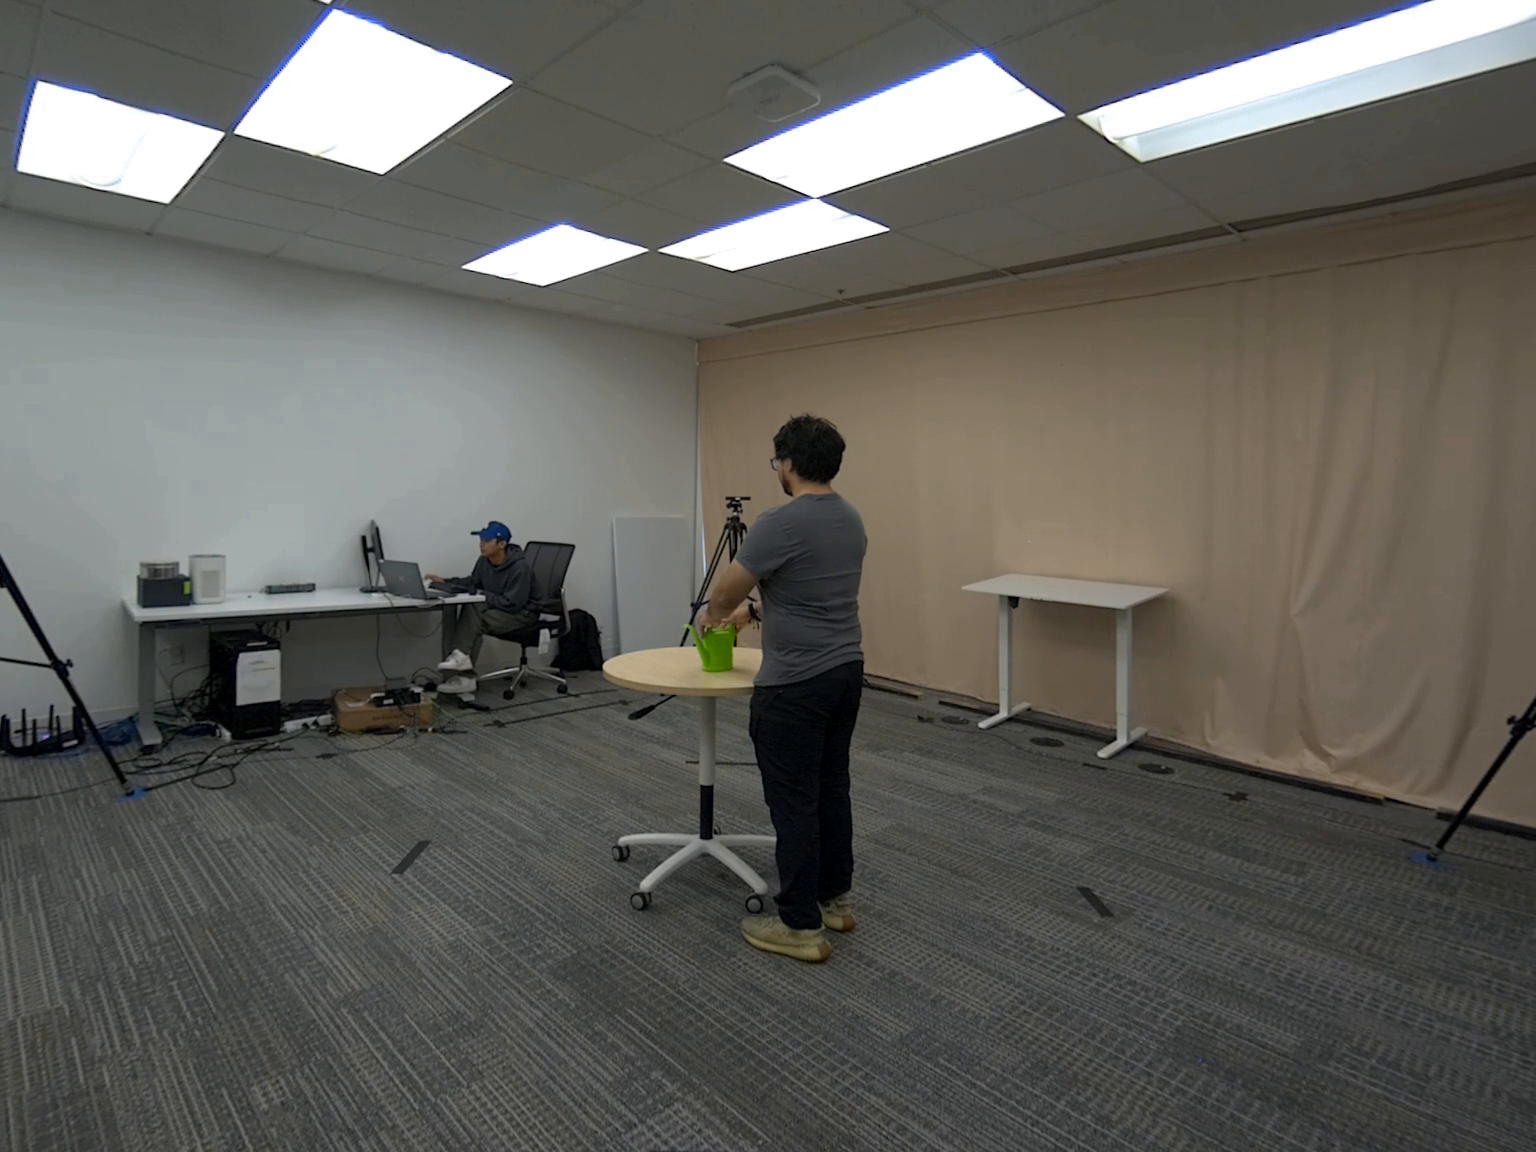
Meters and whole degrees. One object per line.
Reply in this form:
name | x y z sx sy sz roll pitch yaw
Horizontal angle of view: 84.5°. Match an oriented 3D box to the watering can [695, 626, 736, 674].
watering can | -0.213 0.246 2.966 0.271 0.177 0.100 1 2 -45
